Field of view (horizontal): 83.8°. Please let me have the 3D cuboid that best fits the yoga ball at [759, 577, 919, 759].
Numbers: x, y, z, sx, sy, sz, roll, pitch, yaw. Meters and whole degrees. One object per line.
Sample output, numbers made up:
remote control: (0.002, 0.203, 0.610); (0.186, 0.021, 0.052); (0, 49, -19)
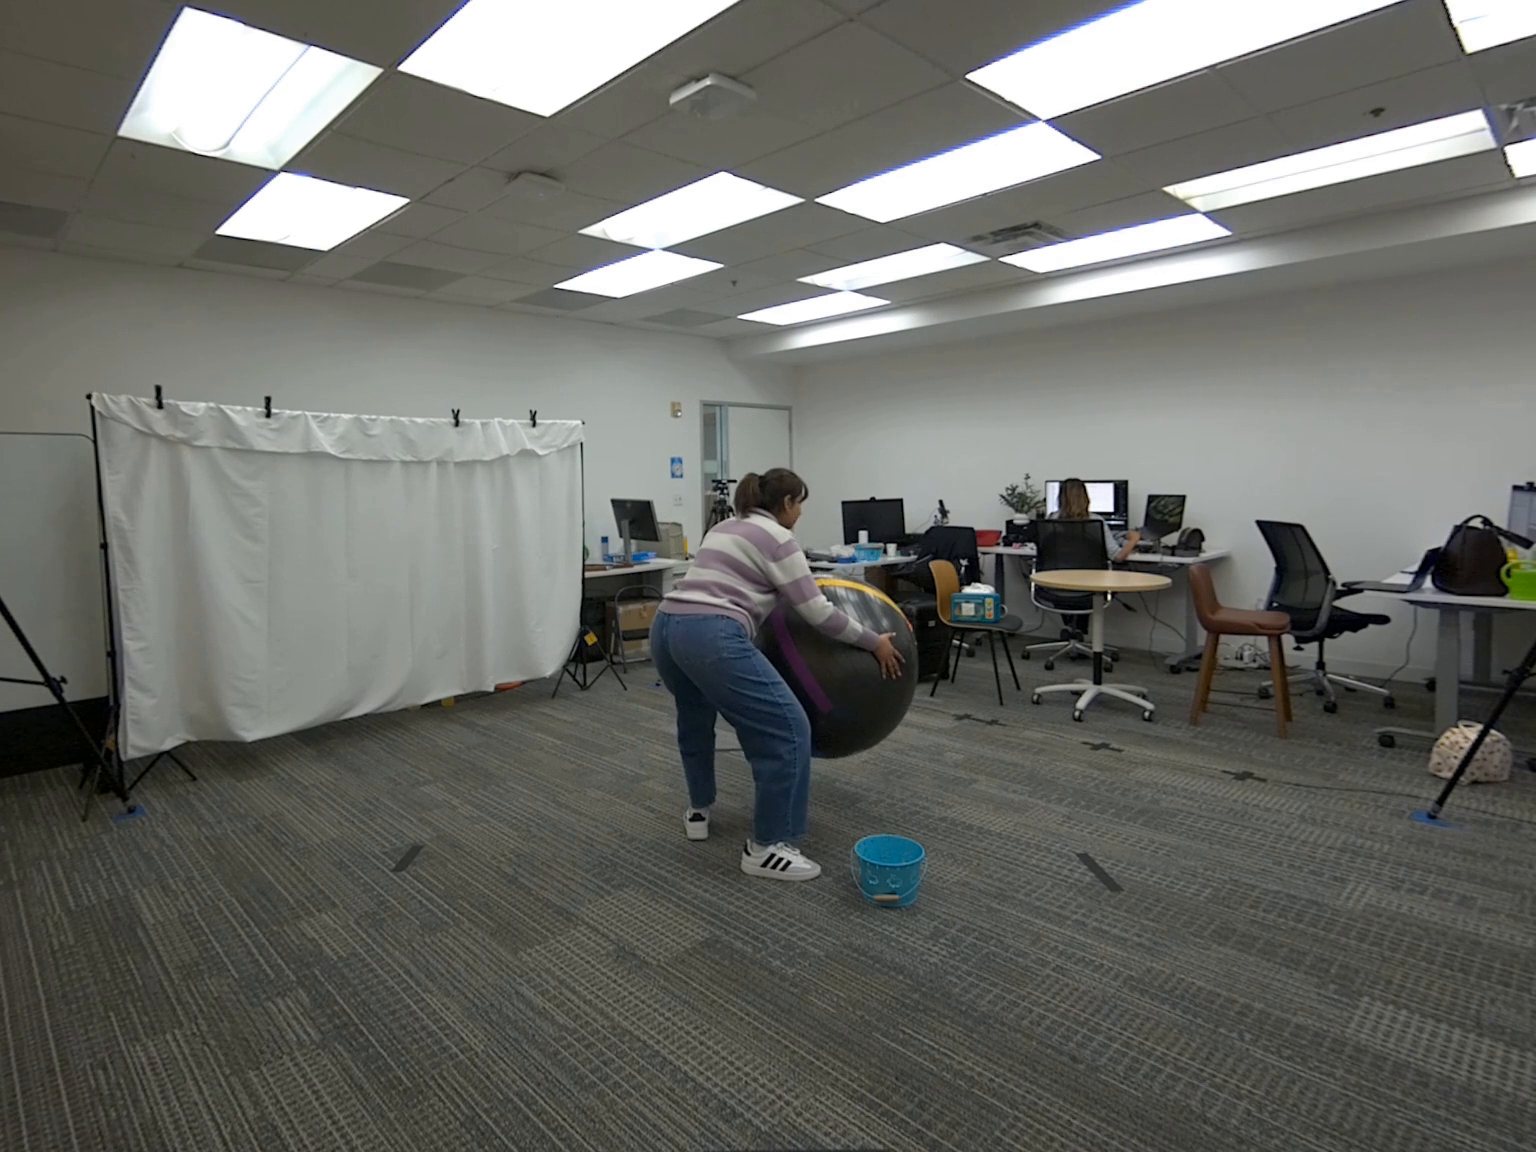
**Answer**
yoga ball: (0.240, 0.369, 3.546); (0.757, 0.755, 0.762); (-1, 5, -2)
